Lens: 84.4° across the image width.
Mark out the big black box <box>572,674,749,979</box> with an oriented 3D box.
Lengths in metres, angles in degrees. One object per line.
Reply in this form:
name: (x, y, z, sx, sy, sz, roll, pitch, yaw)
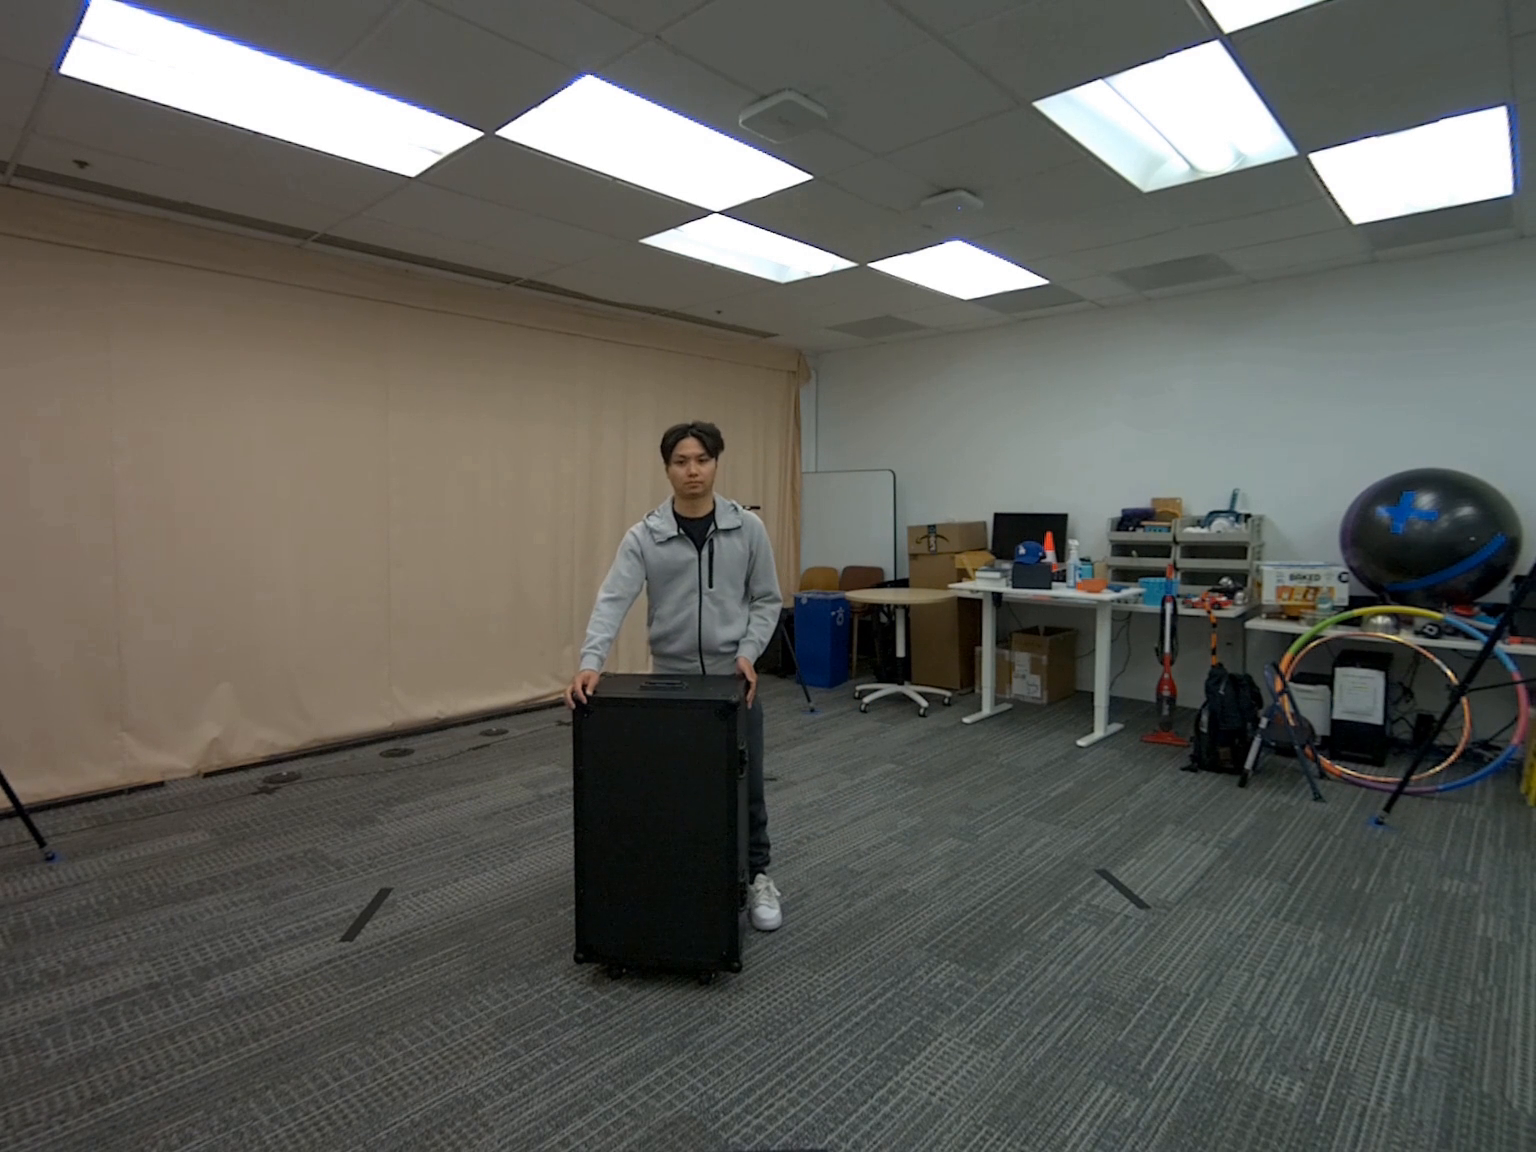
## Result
big black box: (-0.311, 0.752, 2.585, 0.525, 0.861, 0.394, 0, 1, 6)
